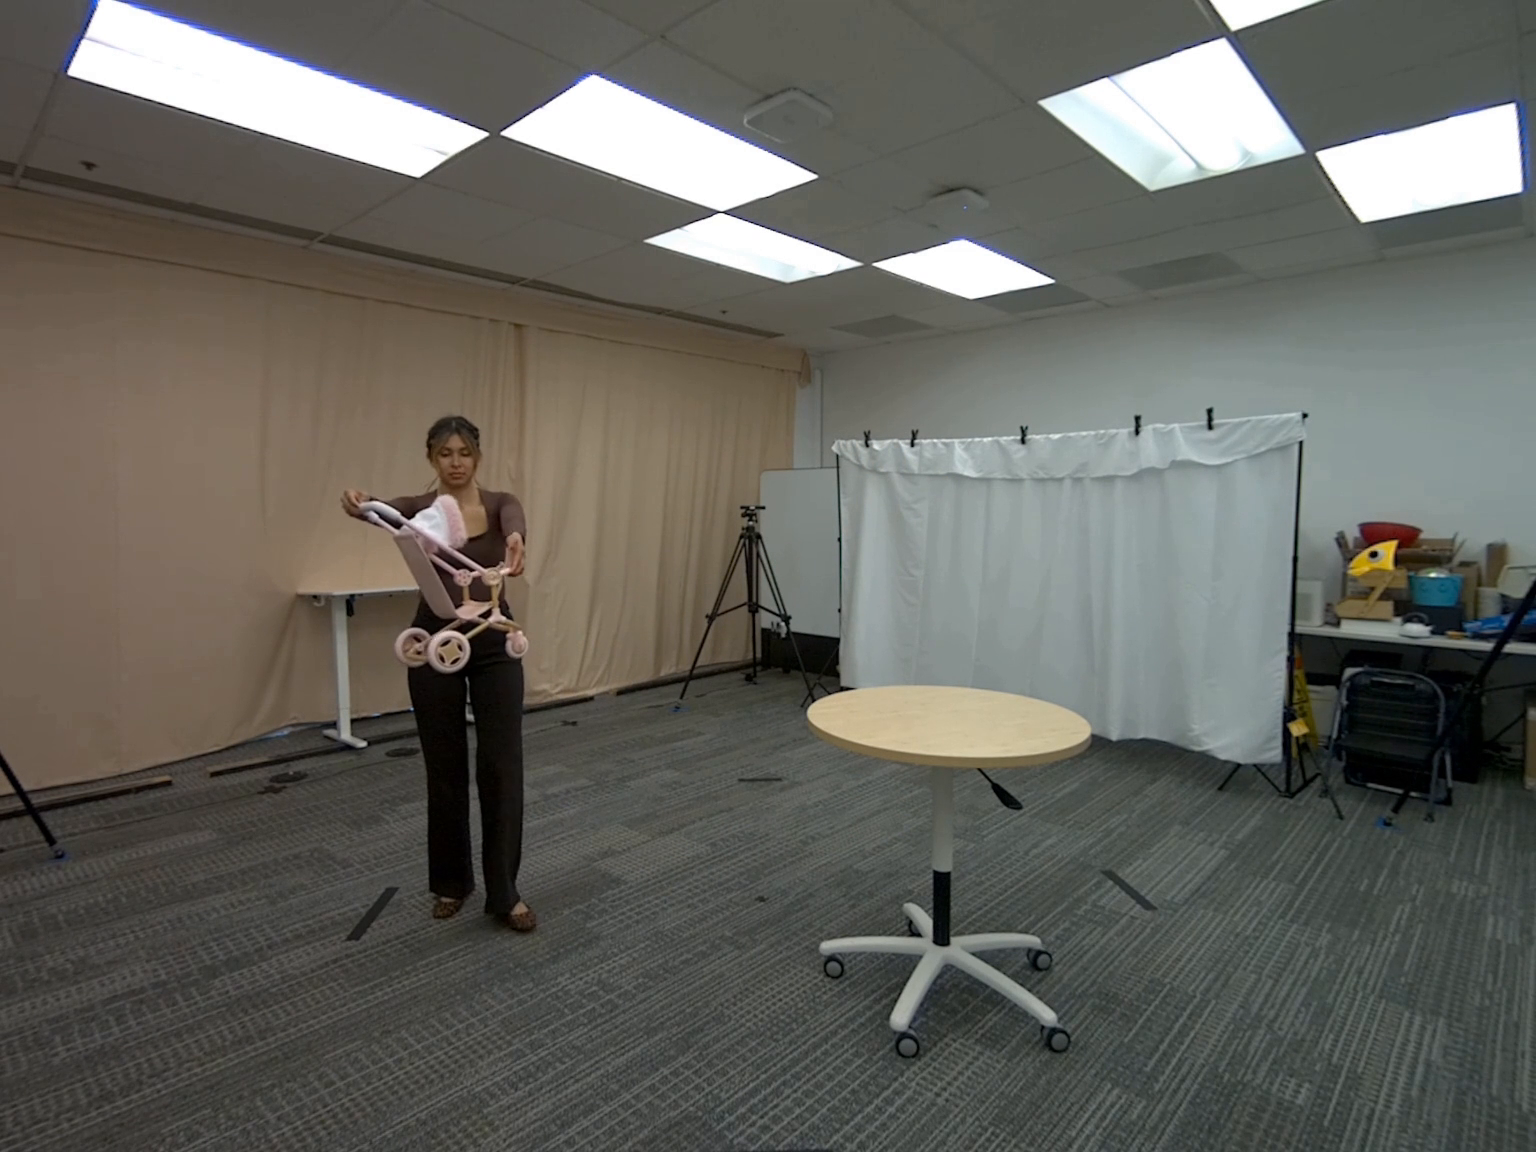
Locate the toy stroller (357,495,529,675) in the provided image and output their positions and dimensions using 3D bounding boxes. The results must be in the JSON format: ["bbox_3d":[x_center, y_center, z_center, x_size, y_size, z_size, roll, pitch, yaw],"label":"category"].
[{"bbox_3d":[-0.869,0.022,2.322,0.333,0.531,0.290,-19,10,-35],"label":"toy stroller"}]
